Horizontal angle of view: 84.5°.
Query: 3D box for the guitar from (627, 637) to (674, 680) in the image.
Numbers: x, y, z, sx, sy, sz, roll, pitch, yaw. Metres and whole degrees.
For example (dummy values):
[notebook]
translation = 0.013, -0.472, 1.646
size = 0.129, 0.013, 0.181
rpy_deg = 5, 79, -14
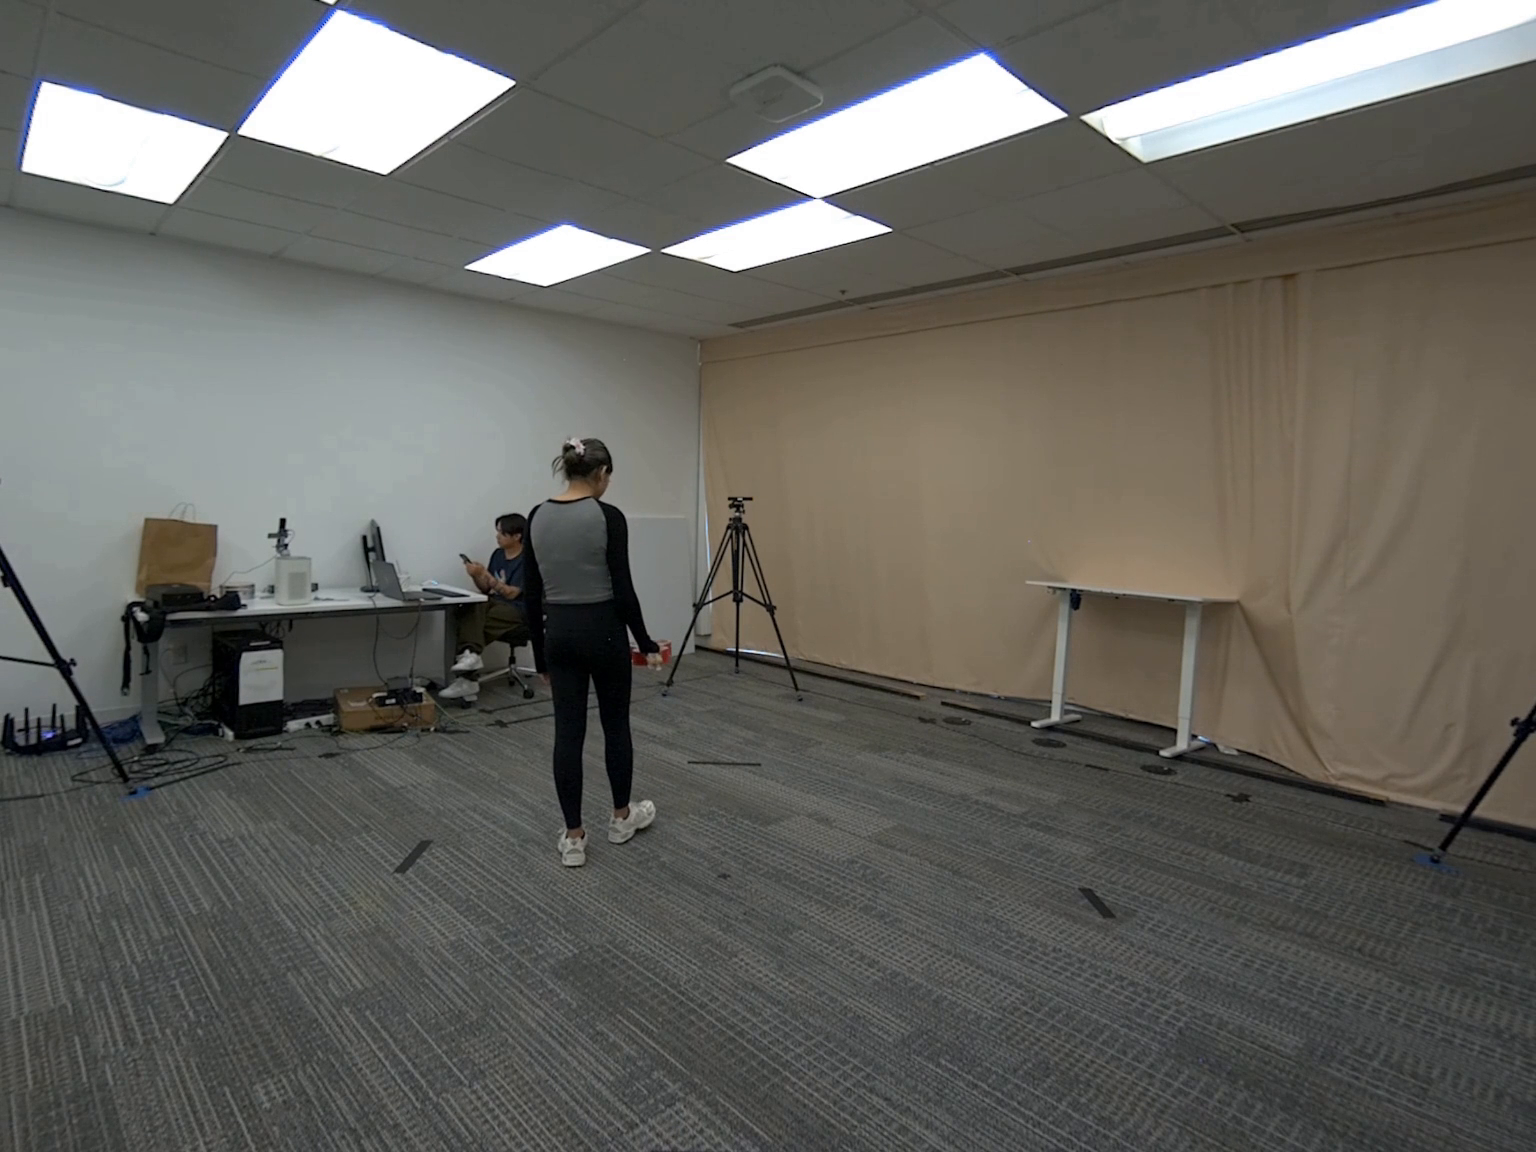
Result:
[guitar]
translation = -0.497, 0.325, 3.387
size = 0.193, 0.070, 0.499
rpy_deg = -3, 5, -1
